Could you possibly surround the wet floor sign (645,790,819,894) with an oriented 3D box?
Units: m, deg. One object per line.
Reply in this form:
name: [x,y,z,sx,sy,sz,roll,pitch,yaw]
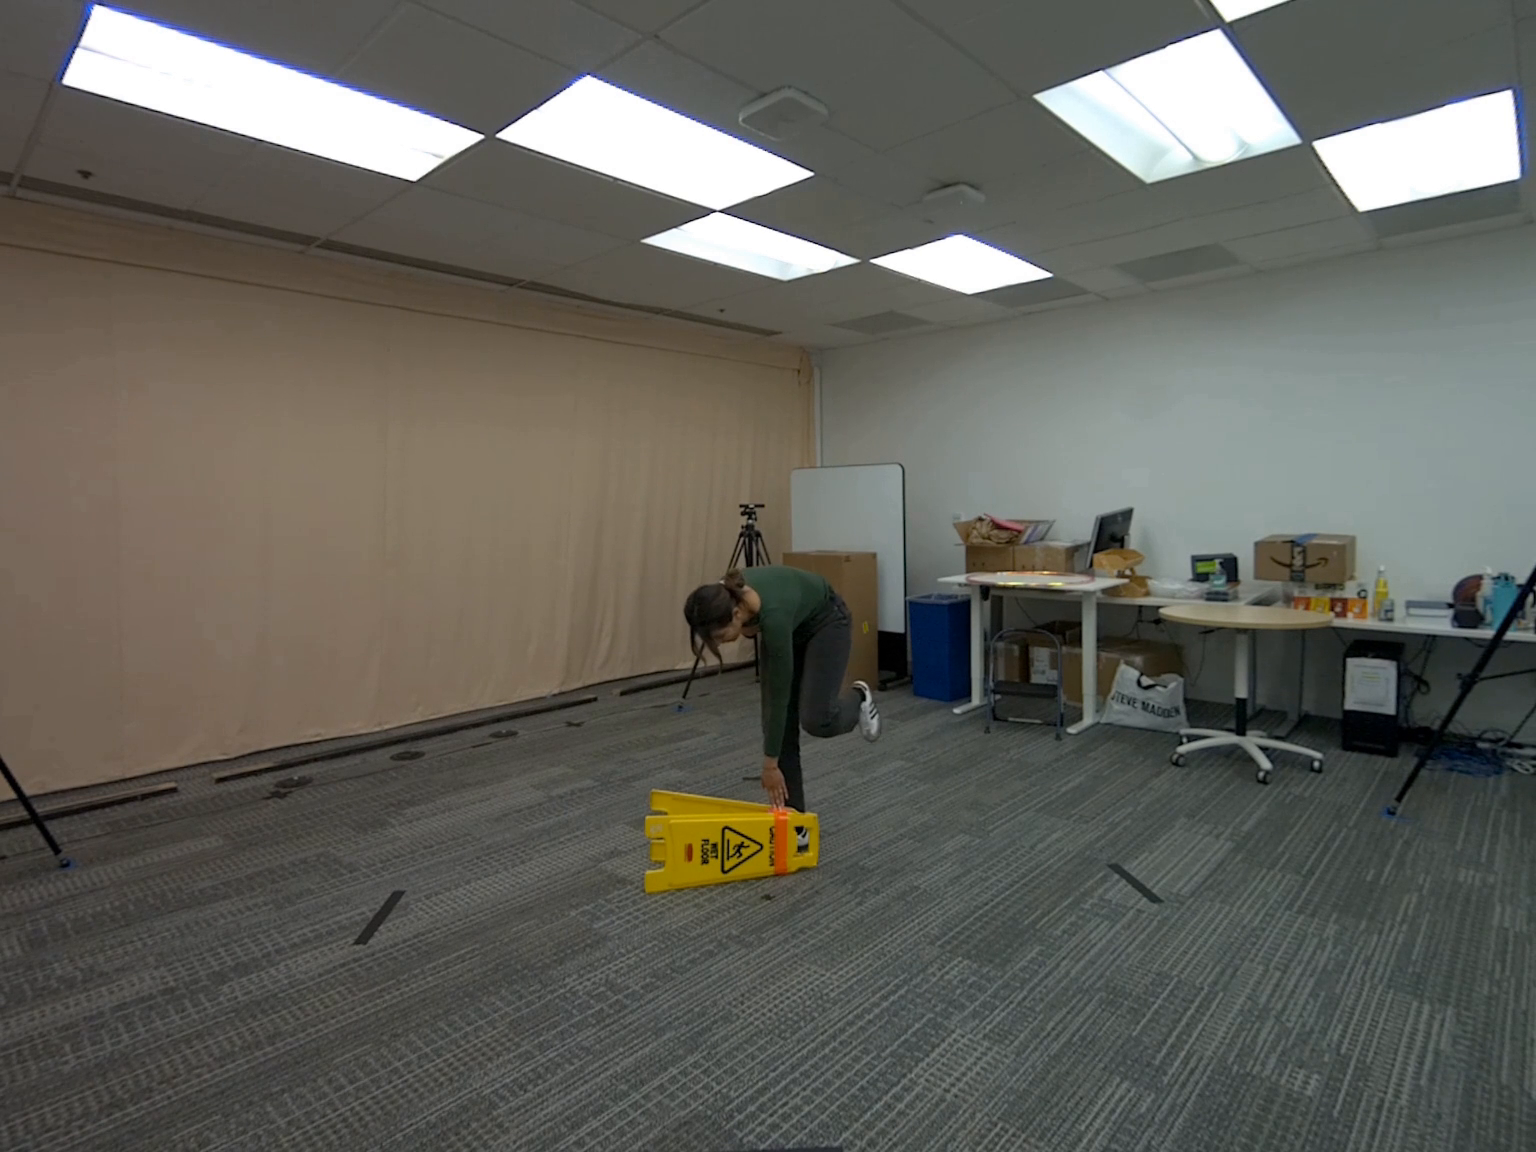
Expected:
wet floor sign: [-0.128,0.991,3.181,0.645,0.282,0.291,1,4,-2]
